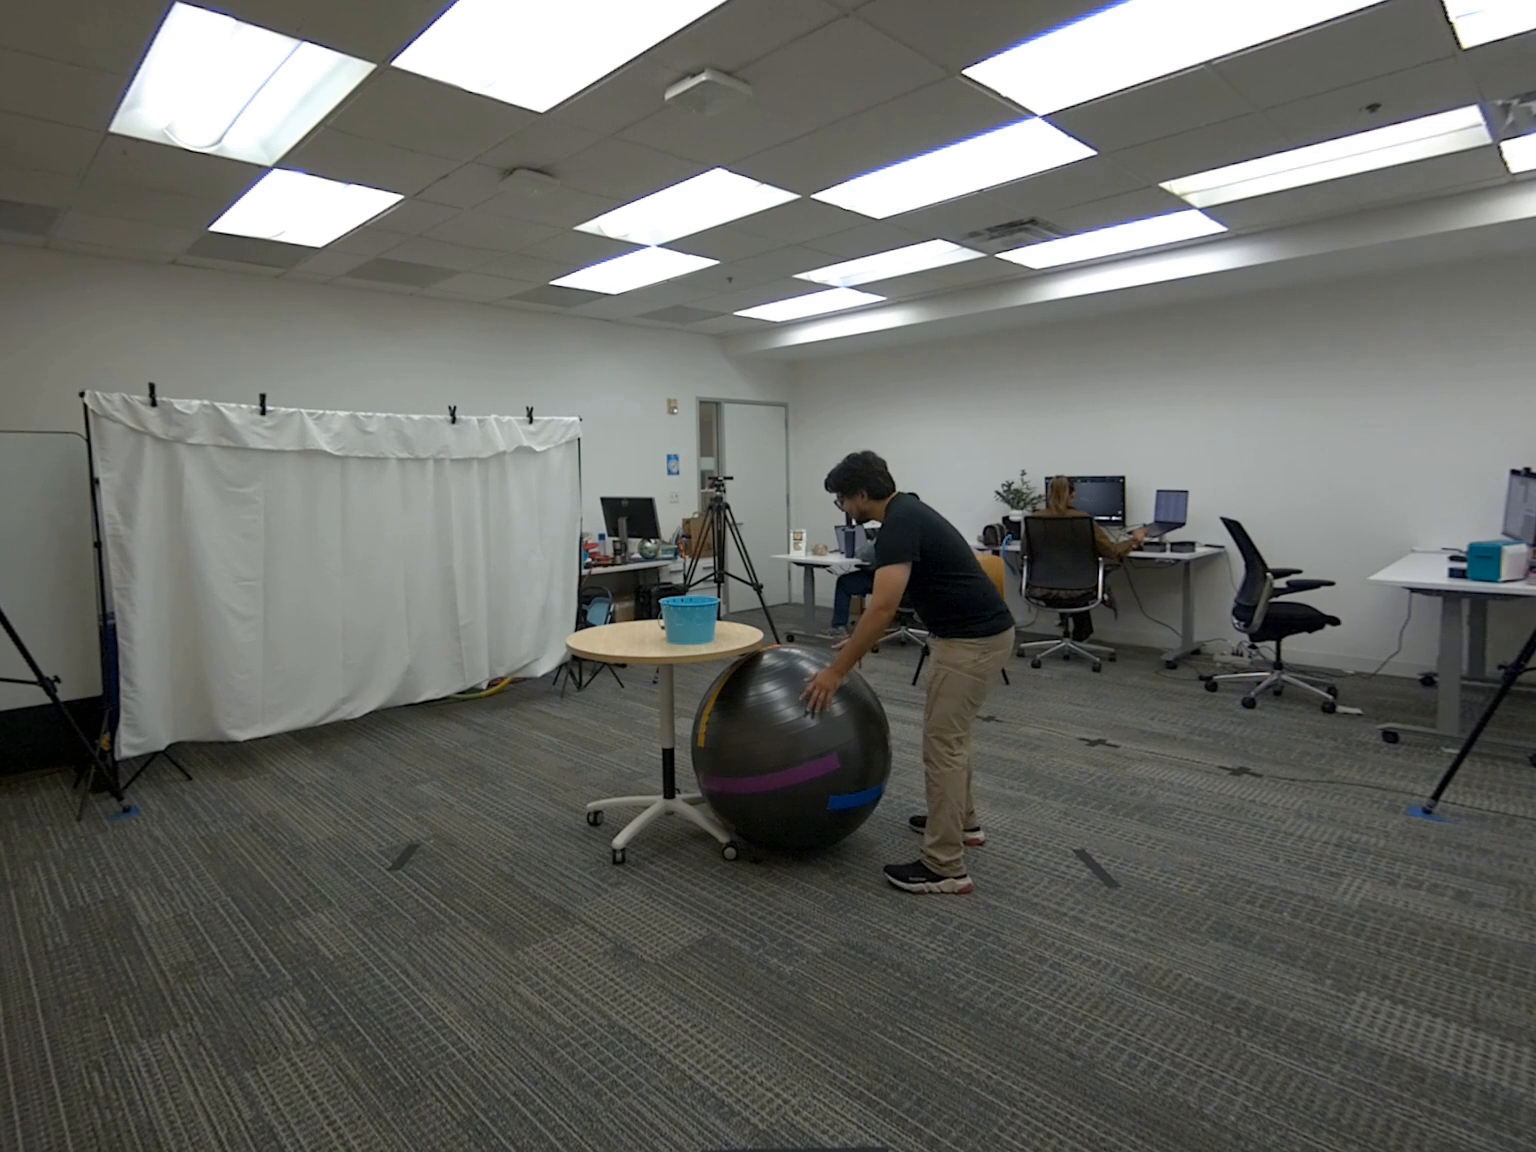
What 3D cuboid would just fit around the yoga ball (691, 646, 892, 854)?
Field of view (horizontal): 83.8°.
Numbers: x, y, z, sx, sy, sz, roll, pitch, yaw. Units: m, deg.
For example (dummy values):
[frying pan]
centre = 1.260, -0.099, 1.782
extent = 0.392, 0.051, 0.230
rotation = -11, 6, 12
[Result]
[yoga ball]
centre = 0.082, 0.654, 3.238
extent = 0.757, 0.755, 0.762
rotation = -1, 5, -2
